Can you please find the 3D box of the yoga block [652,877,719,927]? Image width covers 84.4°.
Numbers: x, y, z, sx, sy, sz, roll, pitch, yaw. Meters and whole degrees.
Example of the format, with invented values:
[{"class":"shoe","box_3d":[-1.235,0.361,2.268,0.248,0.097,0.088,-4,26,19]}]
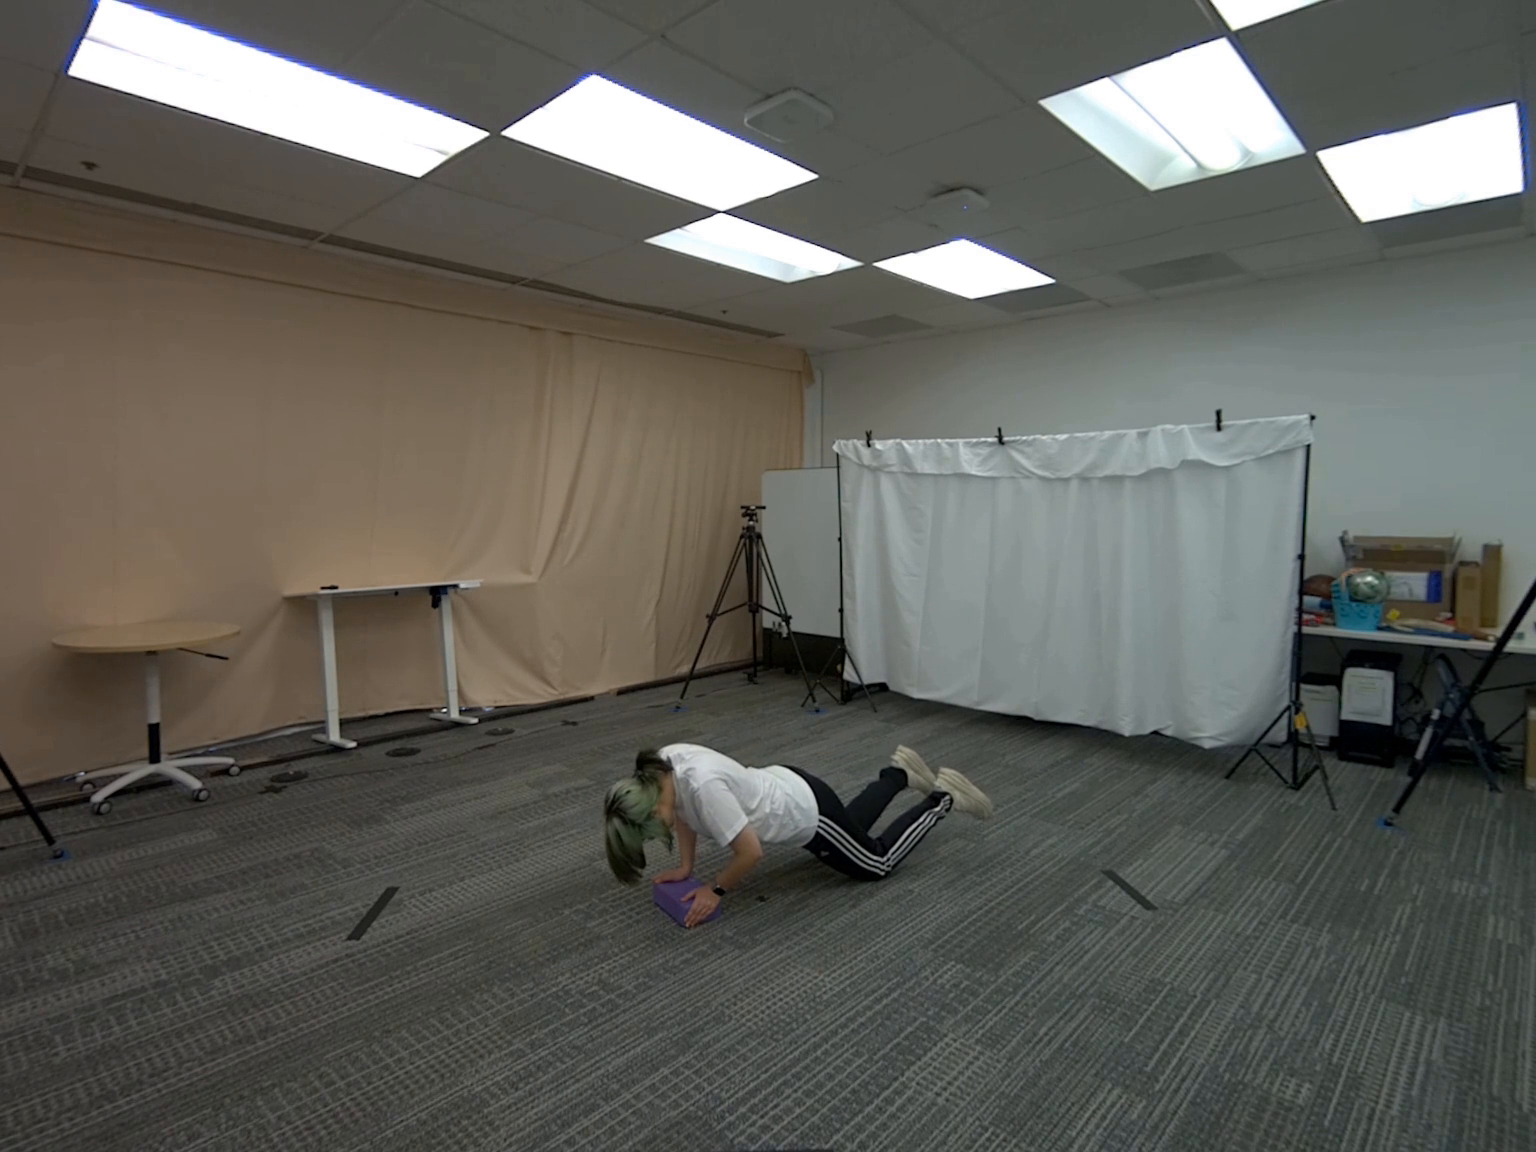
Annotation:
[{"class":"yoga block","box_3d":[-0.280,1.115,2.904,0.145,0.076,0.236,-5,7,-34]}]
